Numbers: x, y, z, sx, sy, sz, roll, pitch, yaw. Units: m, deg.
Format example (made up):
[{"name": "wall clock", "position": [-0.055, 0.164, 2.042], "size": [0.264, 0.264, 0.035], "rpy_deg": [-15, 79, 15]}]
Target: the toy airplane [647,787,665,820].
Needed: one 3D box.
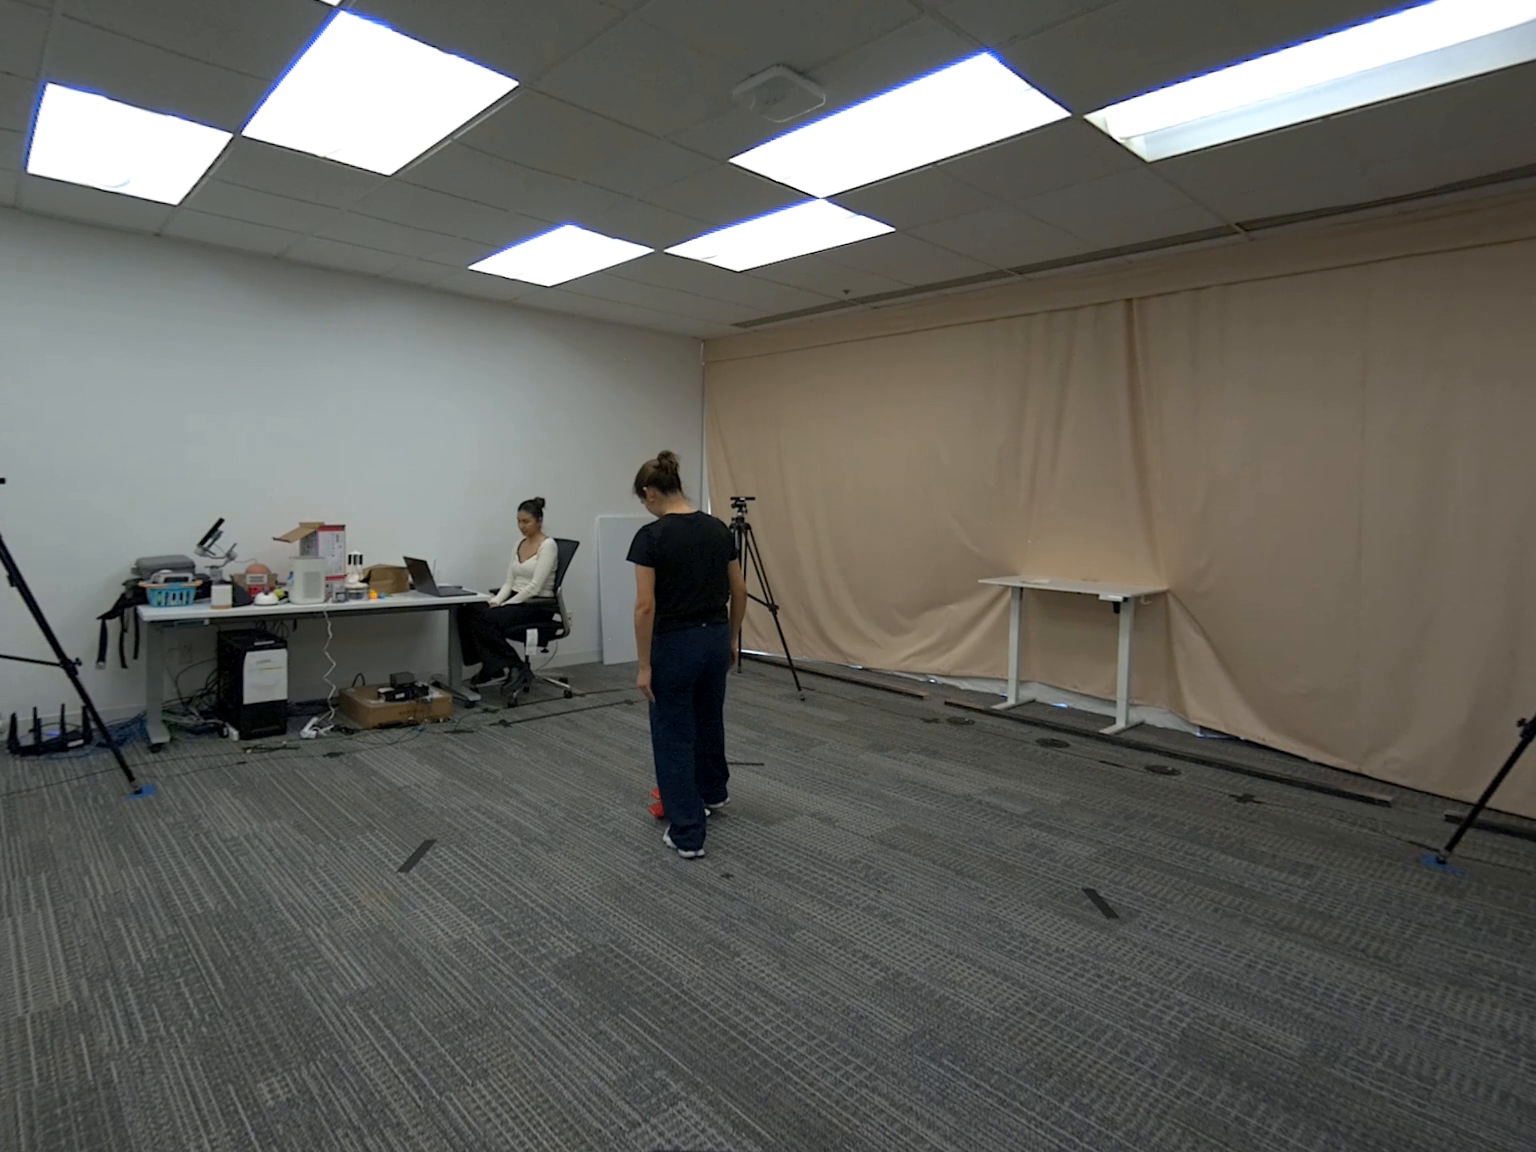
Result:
[{"name": "toy airplane", "position": [-0.373, 0.982, 3.616], "size": [0.262, 0.156, 0.249], "rpy_deg": [0, 4, 12]}]
